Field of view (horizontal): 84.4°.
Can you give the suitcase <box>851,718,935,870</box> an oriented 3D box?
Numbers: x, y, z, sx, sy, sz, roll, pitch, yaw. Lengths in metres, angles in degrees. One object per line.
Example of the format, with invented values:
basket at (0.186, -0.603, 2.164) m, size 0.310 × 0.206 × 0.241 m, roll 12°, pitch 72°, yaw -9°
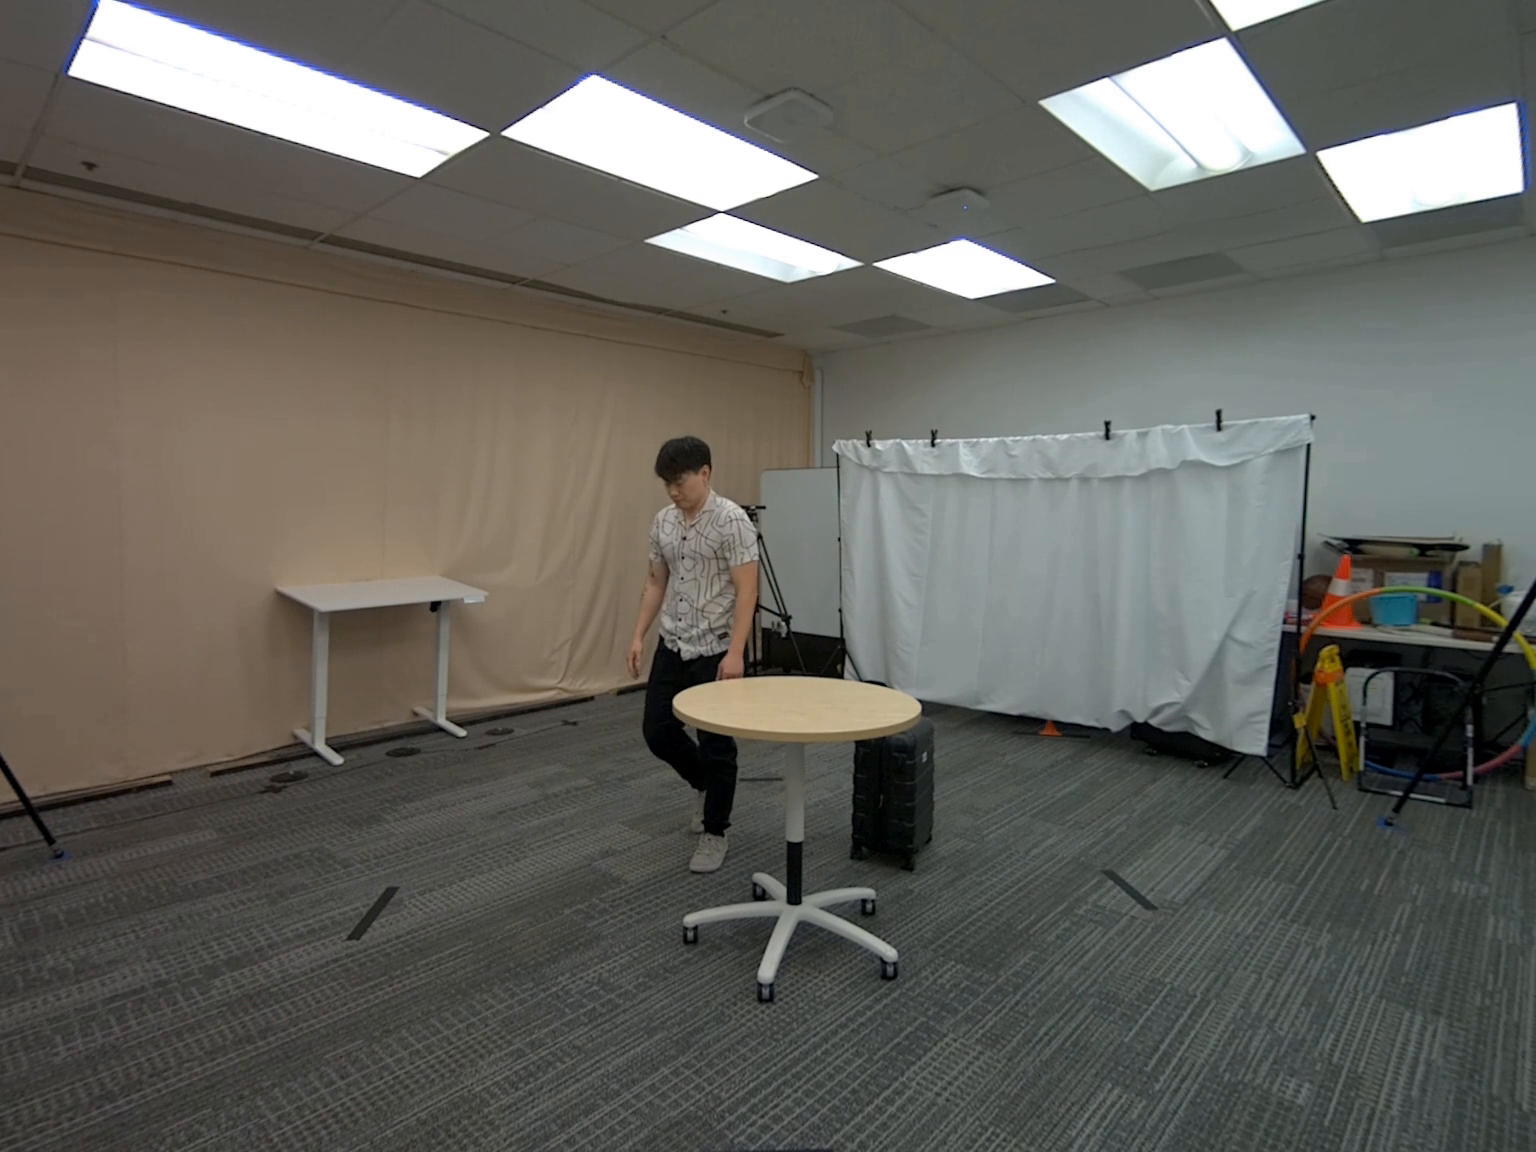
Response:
suitcase at (0.507, 0.836, 3.368) m, size 0.255 × 0.548 × 0.366 m, roll 4°, pitch 5°, yaw 27°
